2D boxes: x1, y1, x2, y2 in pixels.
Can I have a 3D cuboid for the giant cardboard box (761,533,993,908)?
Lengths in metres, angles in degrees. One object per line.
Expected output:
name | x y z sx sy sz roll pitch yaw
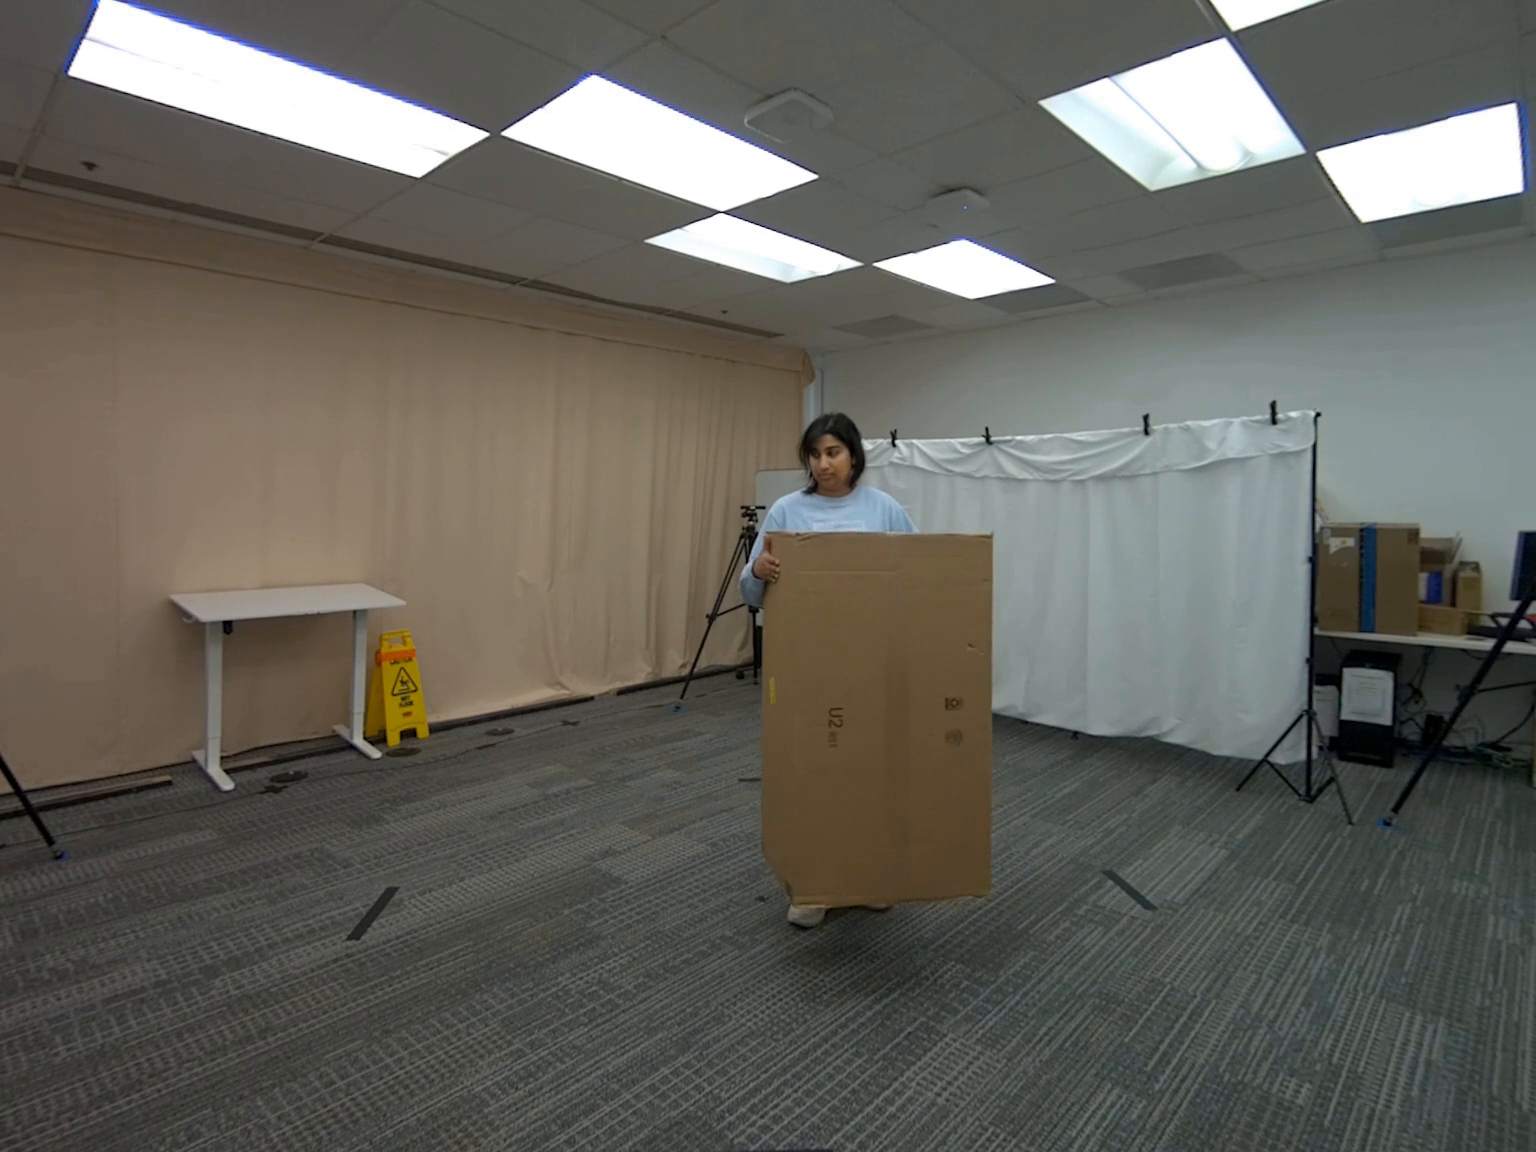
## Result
giant cardboard box | 0.309 0.385 2.511 0.579 1.026 0.451 0 2 -9
